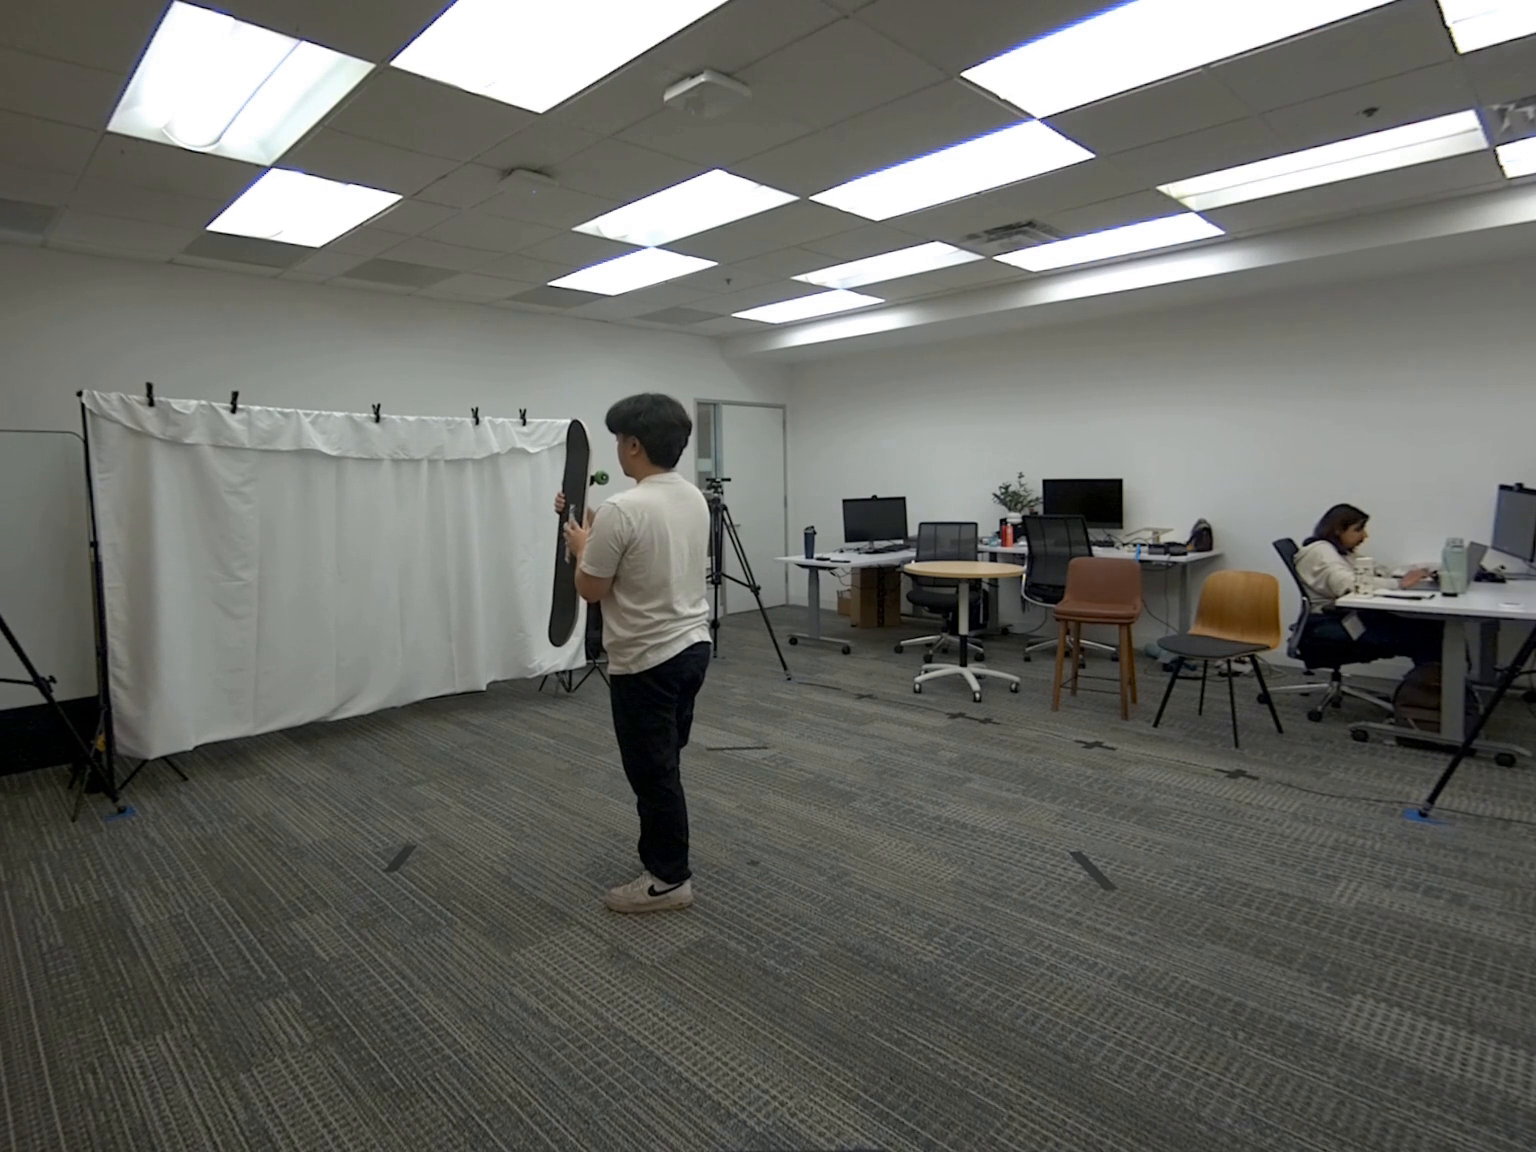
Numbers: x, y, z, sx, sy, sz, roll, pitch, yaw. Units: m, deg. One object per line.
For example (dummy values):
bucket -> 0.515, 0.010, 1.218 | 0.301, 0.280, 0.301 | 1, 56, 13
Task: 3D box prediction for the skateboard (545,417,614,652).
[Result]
skateboard -> -0.658, -0.147, 2.980 | 0.107, 0.786, 0.199 | 5, -2, -34
